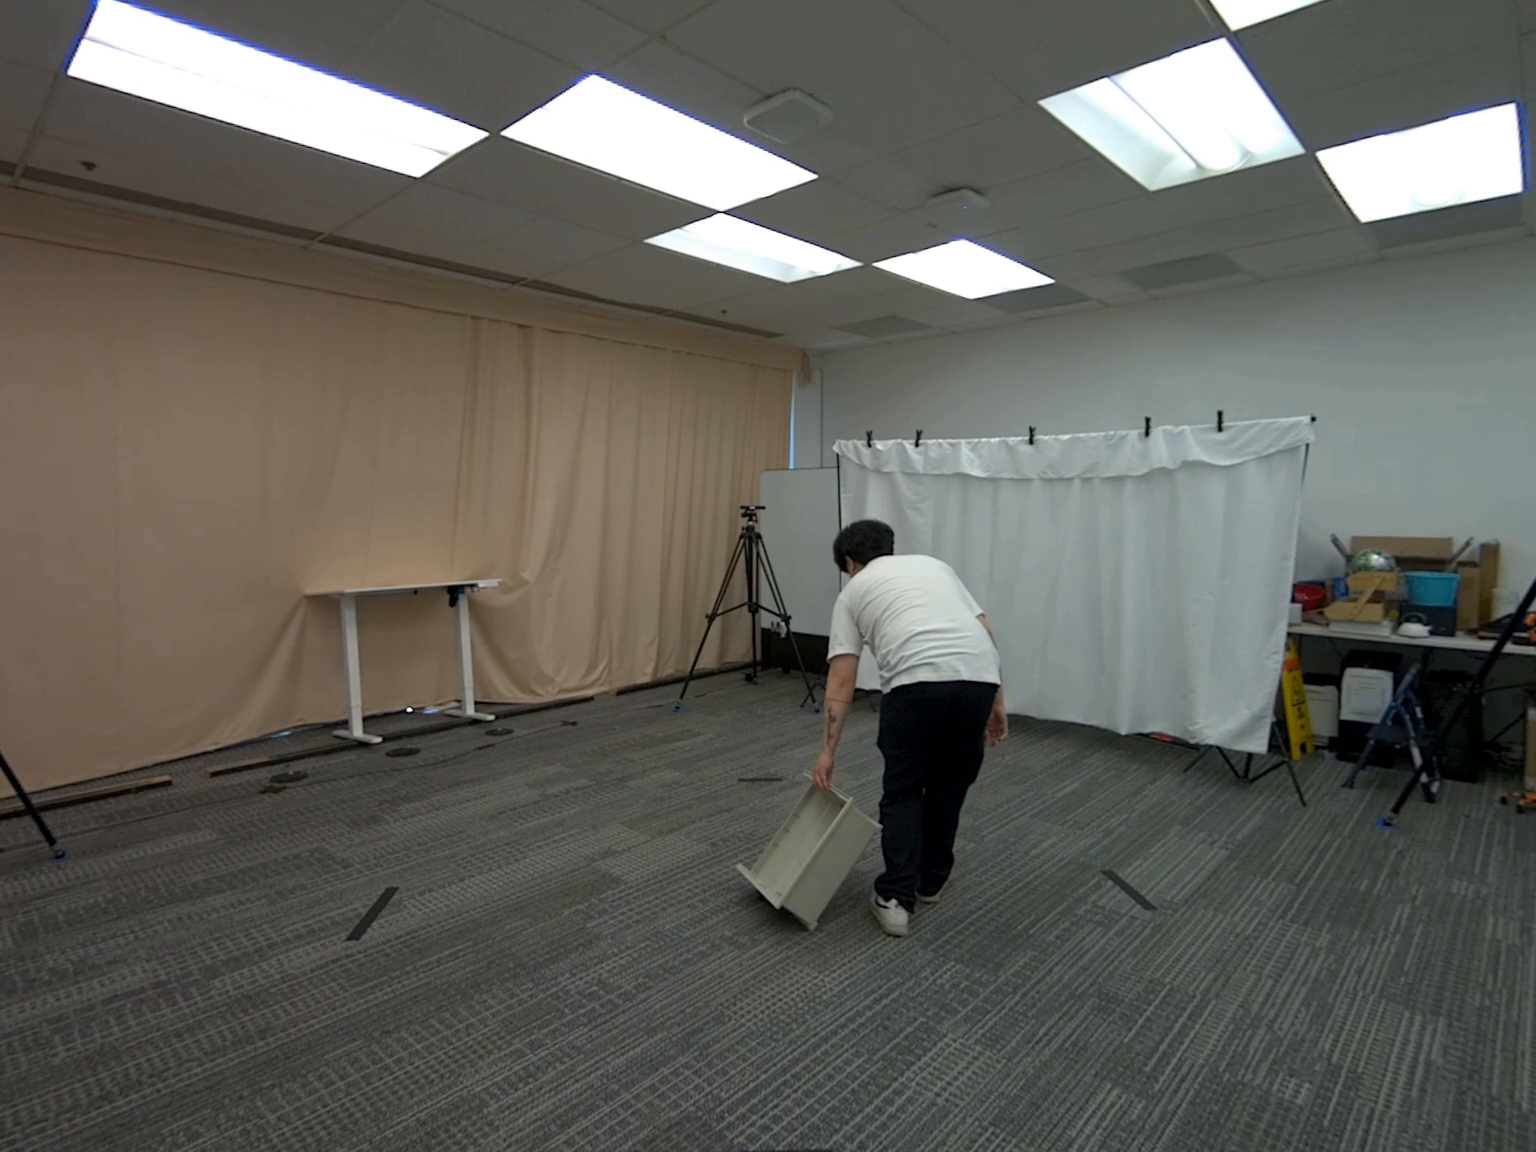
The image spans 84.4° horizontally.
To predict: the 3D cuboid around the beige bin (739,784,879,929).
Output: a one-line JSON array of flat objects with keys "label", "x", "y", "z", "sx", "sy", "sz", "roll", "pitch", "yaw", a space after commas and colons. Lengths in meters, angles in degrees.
[{"label": "beige bin", "x": 0.134, "y": 0.934, "z": 2.925, "sx": 0.184, "sy": 0.421, "sz": 0.387, "roll": 44, "pitch": -14, "yaw": -22}]
